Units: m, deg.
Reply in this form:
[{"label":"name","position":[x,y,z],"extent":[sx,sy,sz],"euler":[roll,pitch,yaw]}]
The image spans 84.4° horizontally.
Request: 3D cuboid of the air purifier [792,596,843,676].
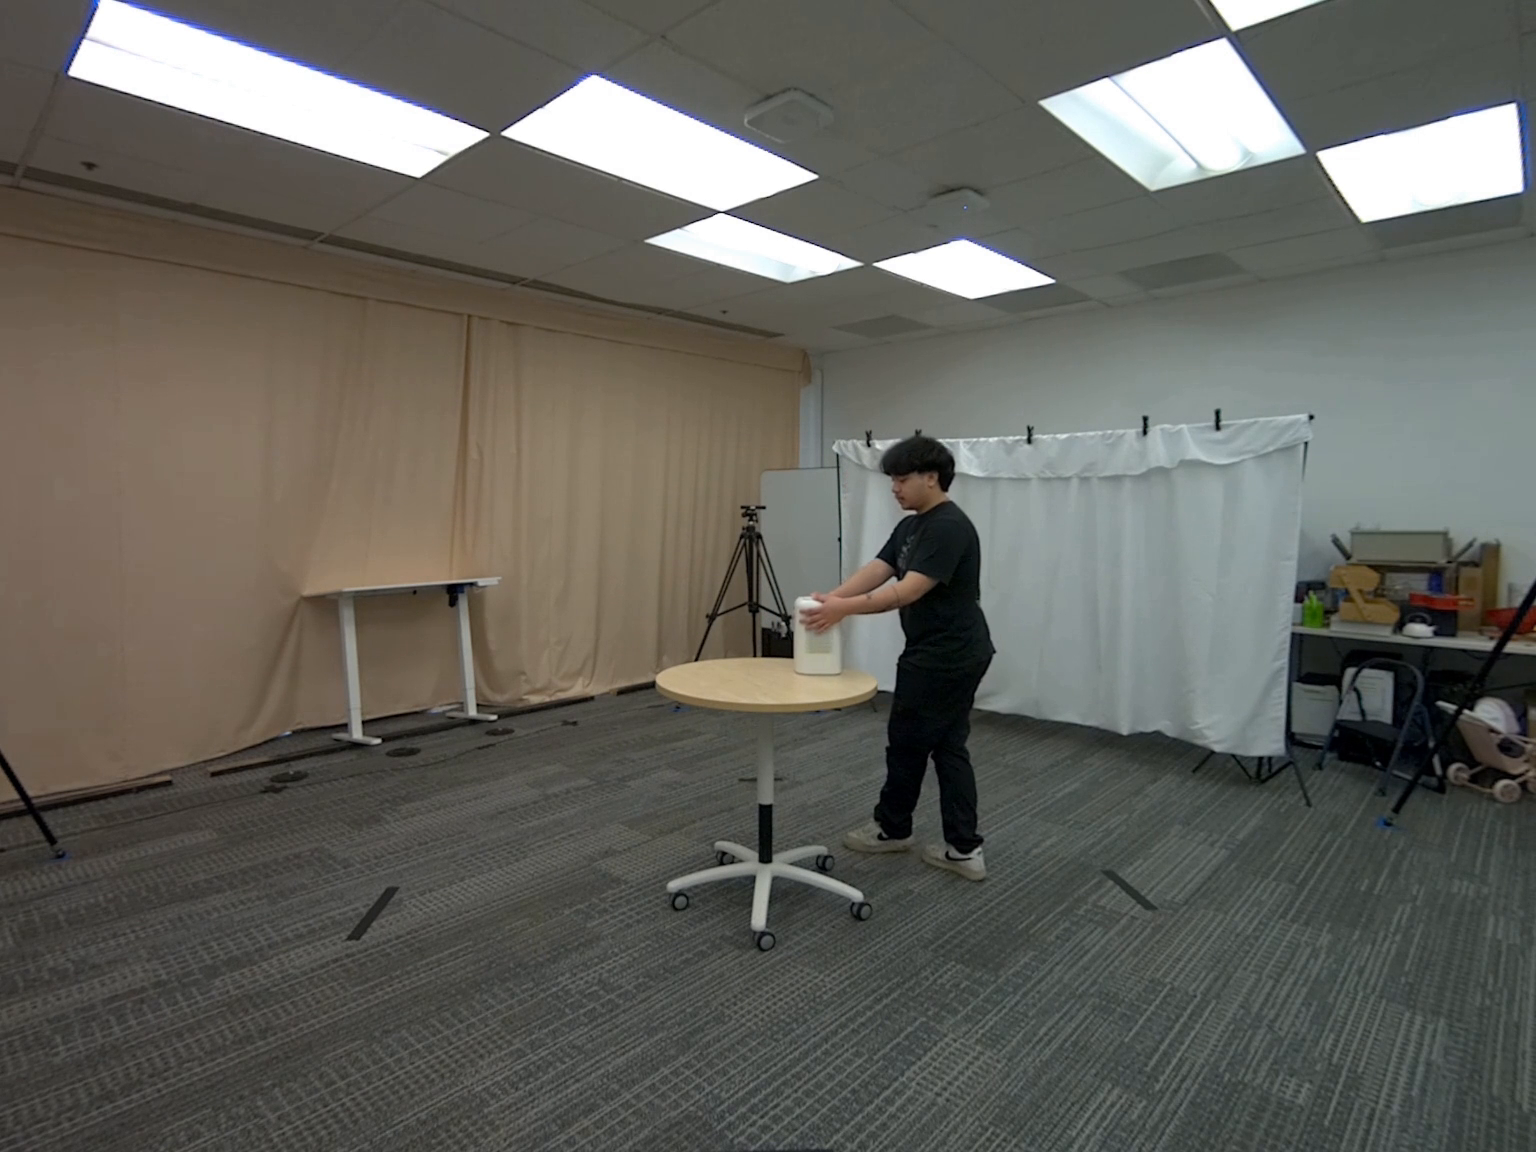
[{"label":"air purifier","position":[0.184,0.217,3.054],"extent":[0.172,0.265,0.171],"euler":[1,1,1]}]
